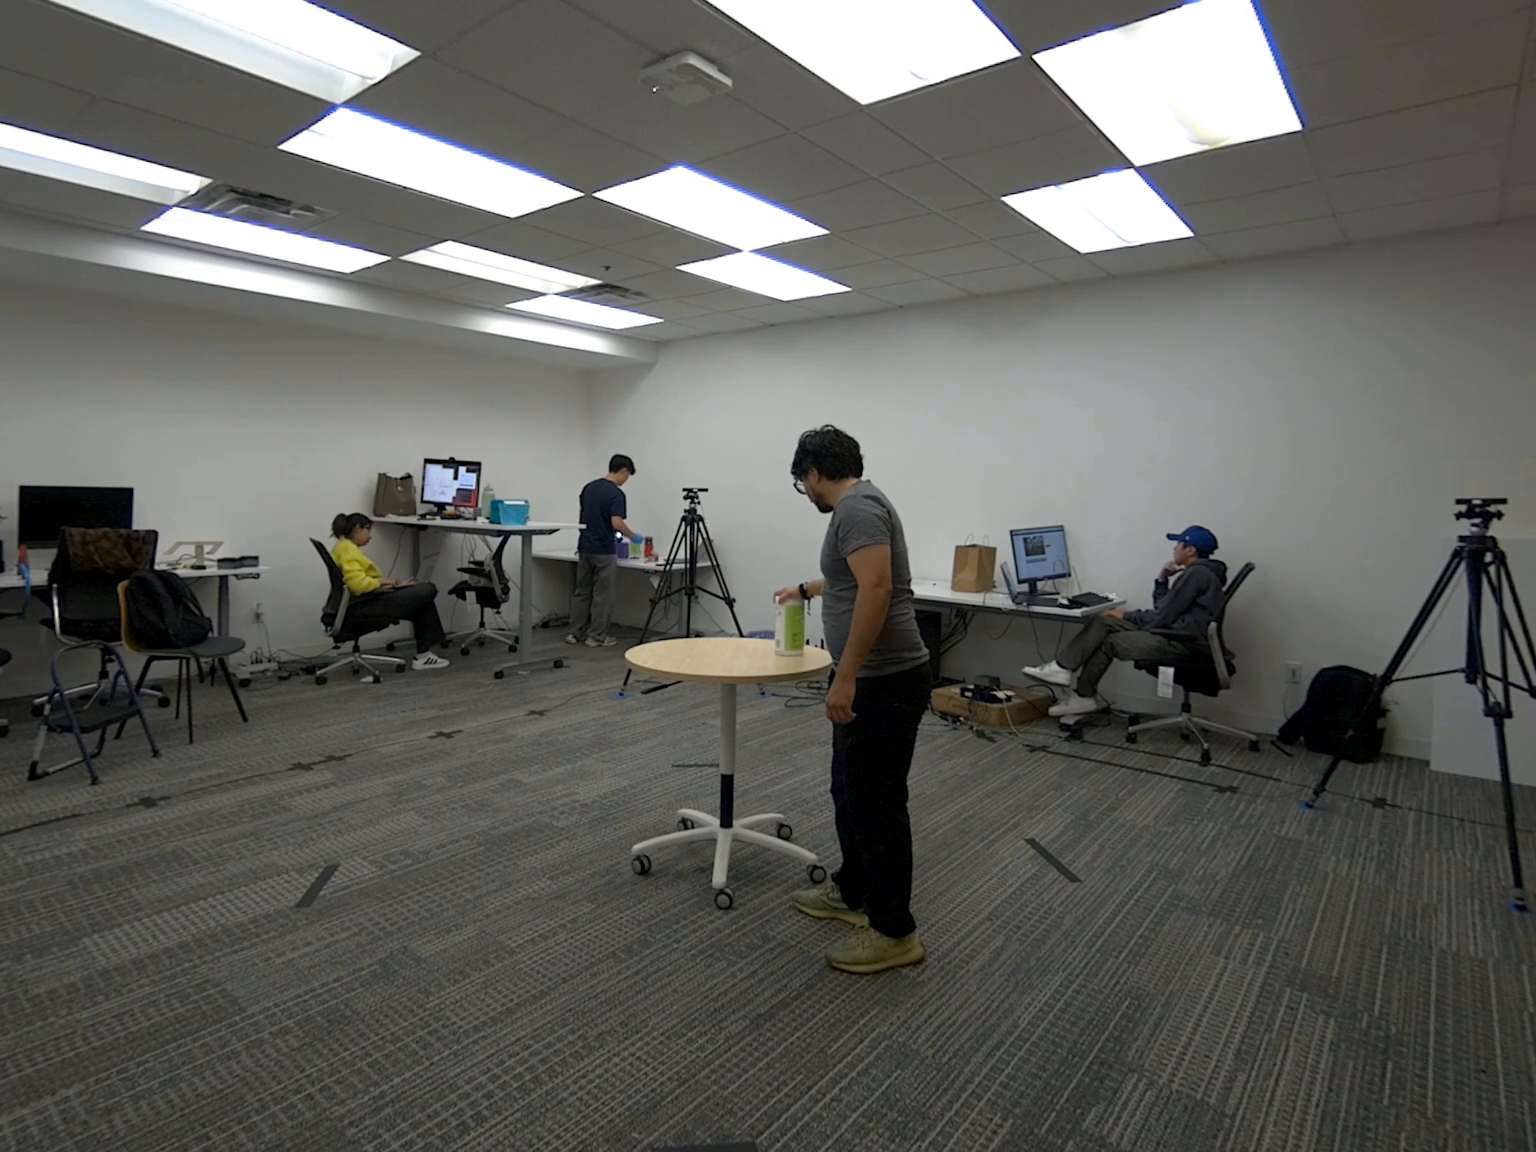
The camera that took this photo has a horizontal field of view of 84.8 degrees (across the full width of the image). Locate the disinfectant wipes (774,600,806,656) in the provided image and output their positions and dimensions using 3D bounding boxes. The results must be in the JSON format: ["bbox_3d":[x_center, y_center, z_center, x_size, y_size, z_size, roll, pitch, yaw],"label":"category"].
[{"bbox_3d":[0.070,0.181,3.158,0.117,0.217,0.118,3,4,-2],"label":"disinfectant wipes"}]
